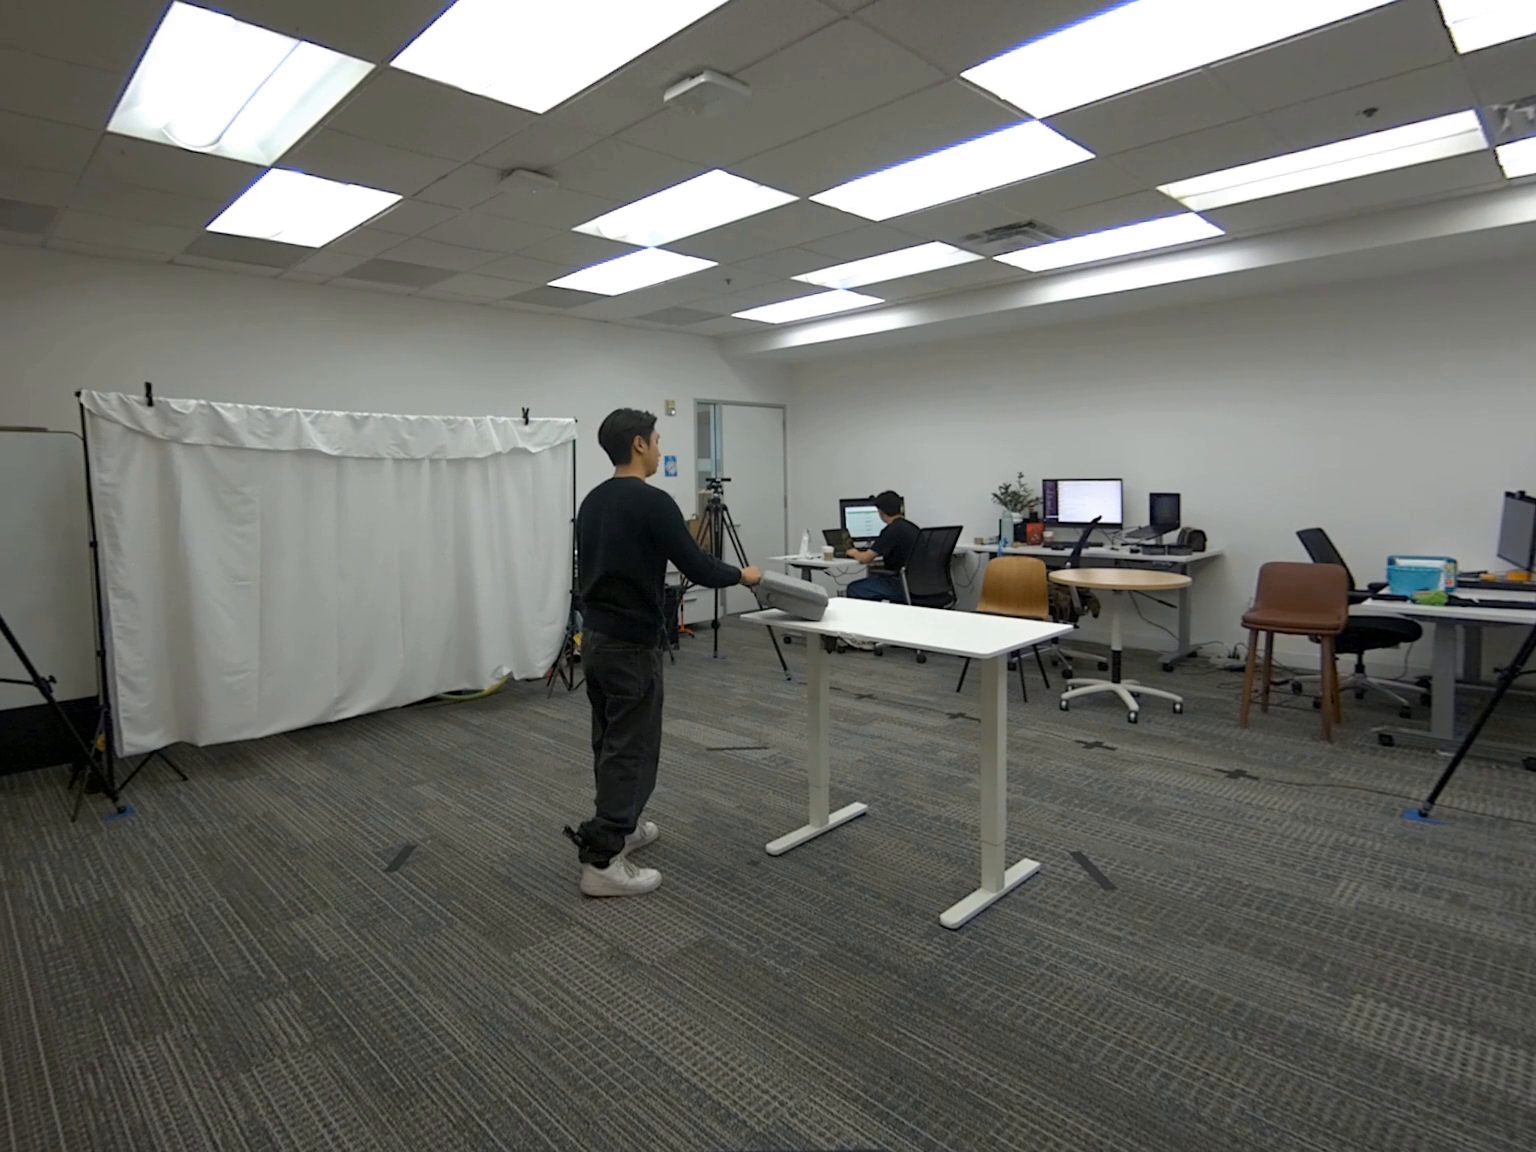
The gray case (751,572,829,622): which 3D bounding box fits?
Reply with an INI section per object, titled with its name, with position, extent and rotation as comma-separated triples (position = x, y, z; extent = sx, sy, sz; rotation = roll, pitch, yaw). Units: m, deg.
[gray case]
position = 0.095, 0.068, 3.147
extent = 0.261, 0.104, 0.258
rotation = 15, 7, 0
